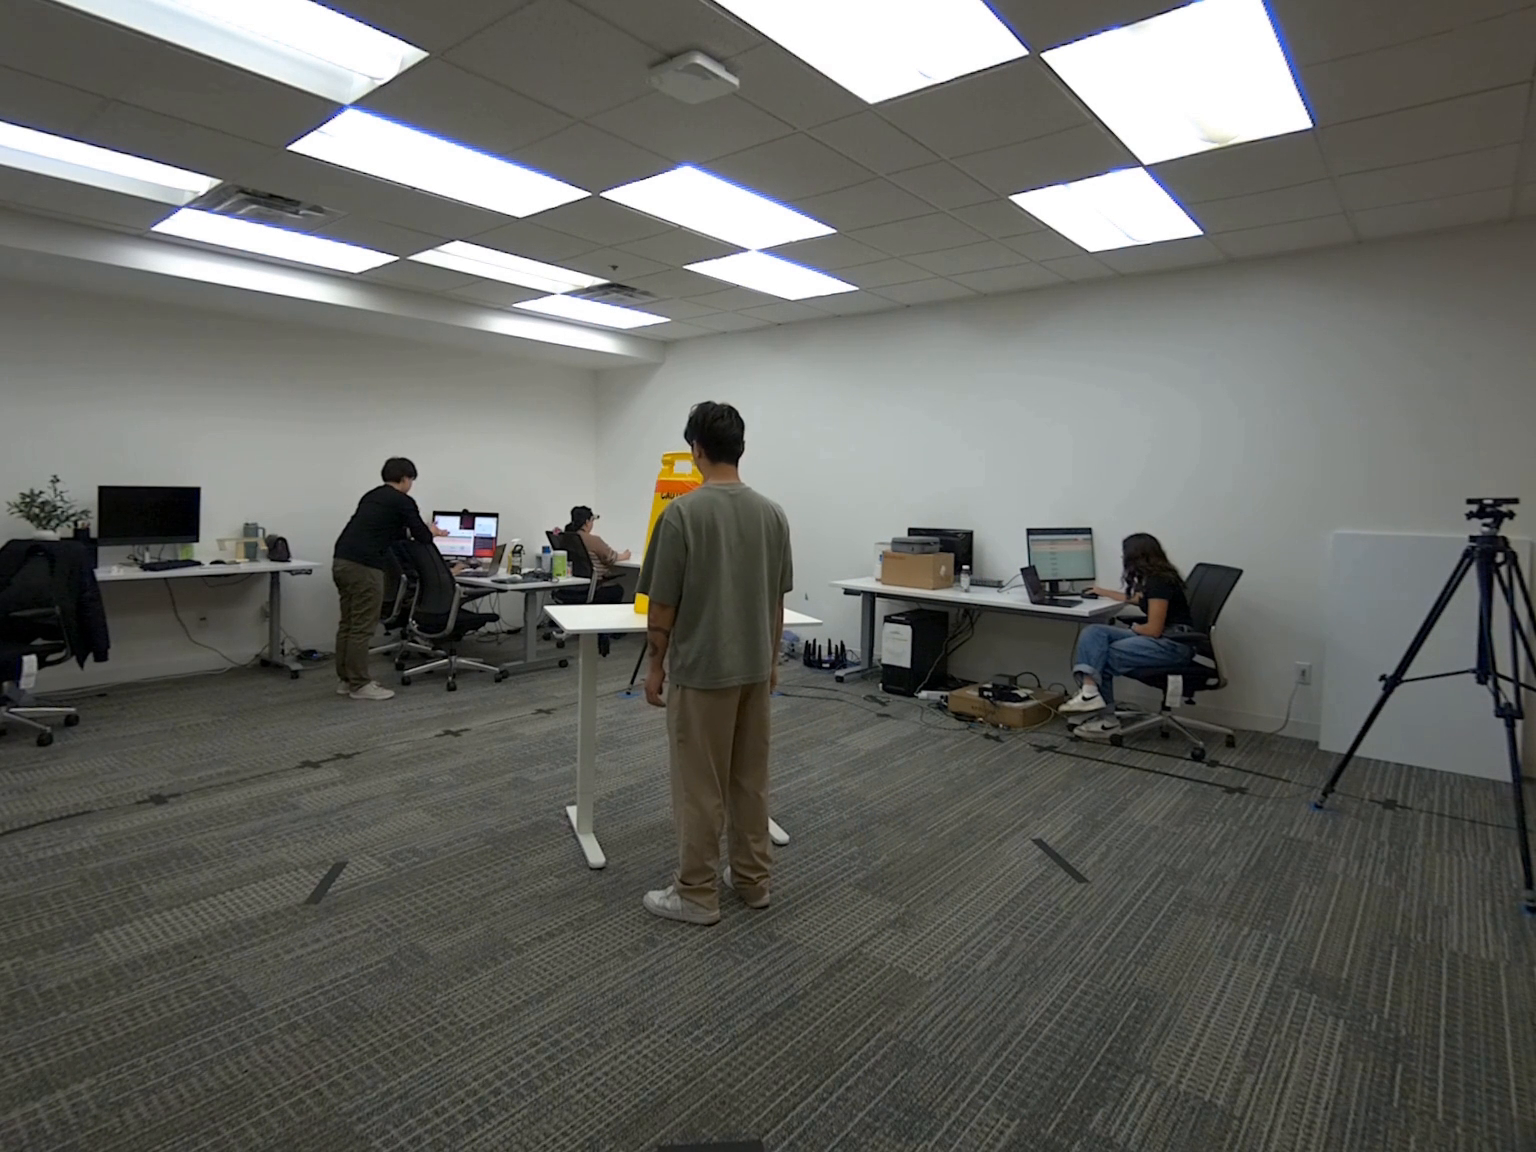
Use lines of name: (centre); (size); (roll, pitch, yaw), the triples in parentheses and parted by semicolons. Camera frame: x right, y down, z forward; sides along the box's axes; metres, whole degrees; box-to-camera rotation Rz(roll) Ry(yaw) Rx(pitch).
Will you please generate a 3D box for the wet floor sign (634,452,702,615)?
wet floor sign: (-0.362, -0.177, 3.441); (0.291, 0.644, 0.282); (4, 4, 32)
